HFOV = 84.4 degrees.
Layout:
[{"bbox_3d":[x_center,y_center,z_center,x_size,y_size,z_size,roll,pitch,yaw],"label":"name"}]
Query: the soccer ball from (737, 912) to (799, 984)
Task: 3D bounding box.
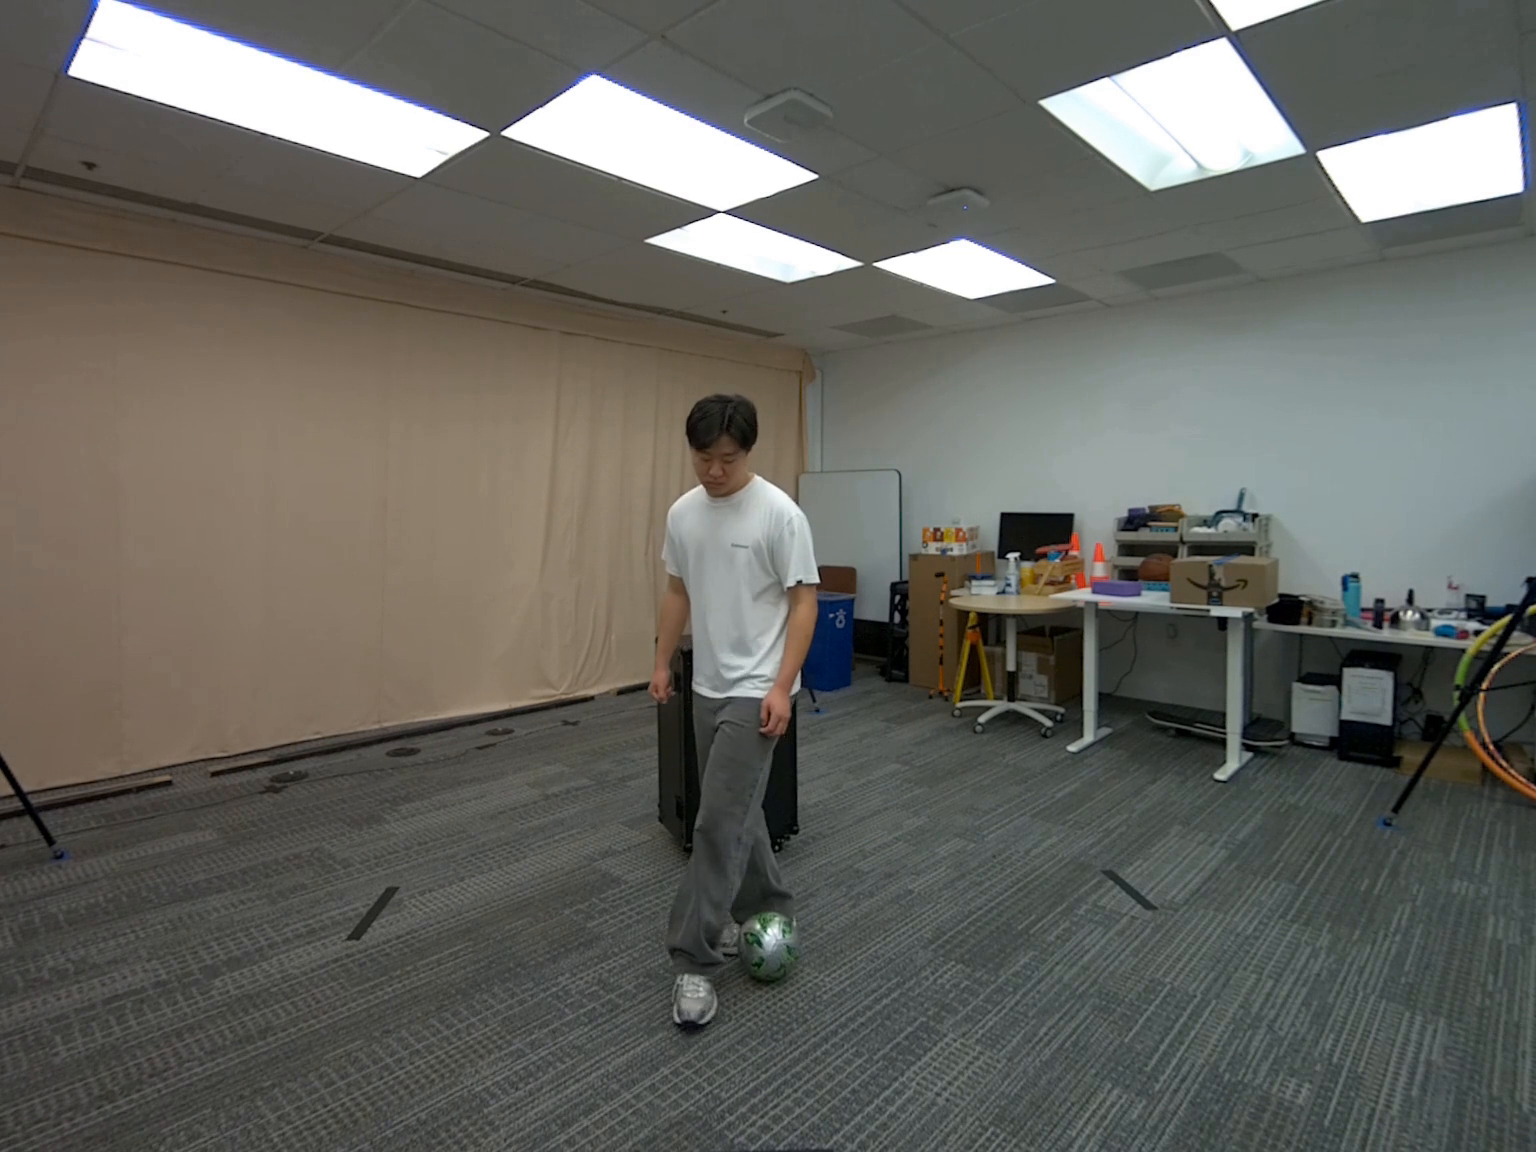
[{"bbox_3d":[0.004,1.087,2.491,0.187,0.187,0.188,0,4,-2],"label":"soccer ball"}]
